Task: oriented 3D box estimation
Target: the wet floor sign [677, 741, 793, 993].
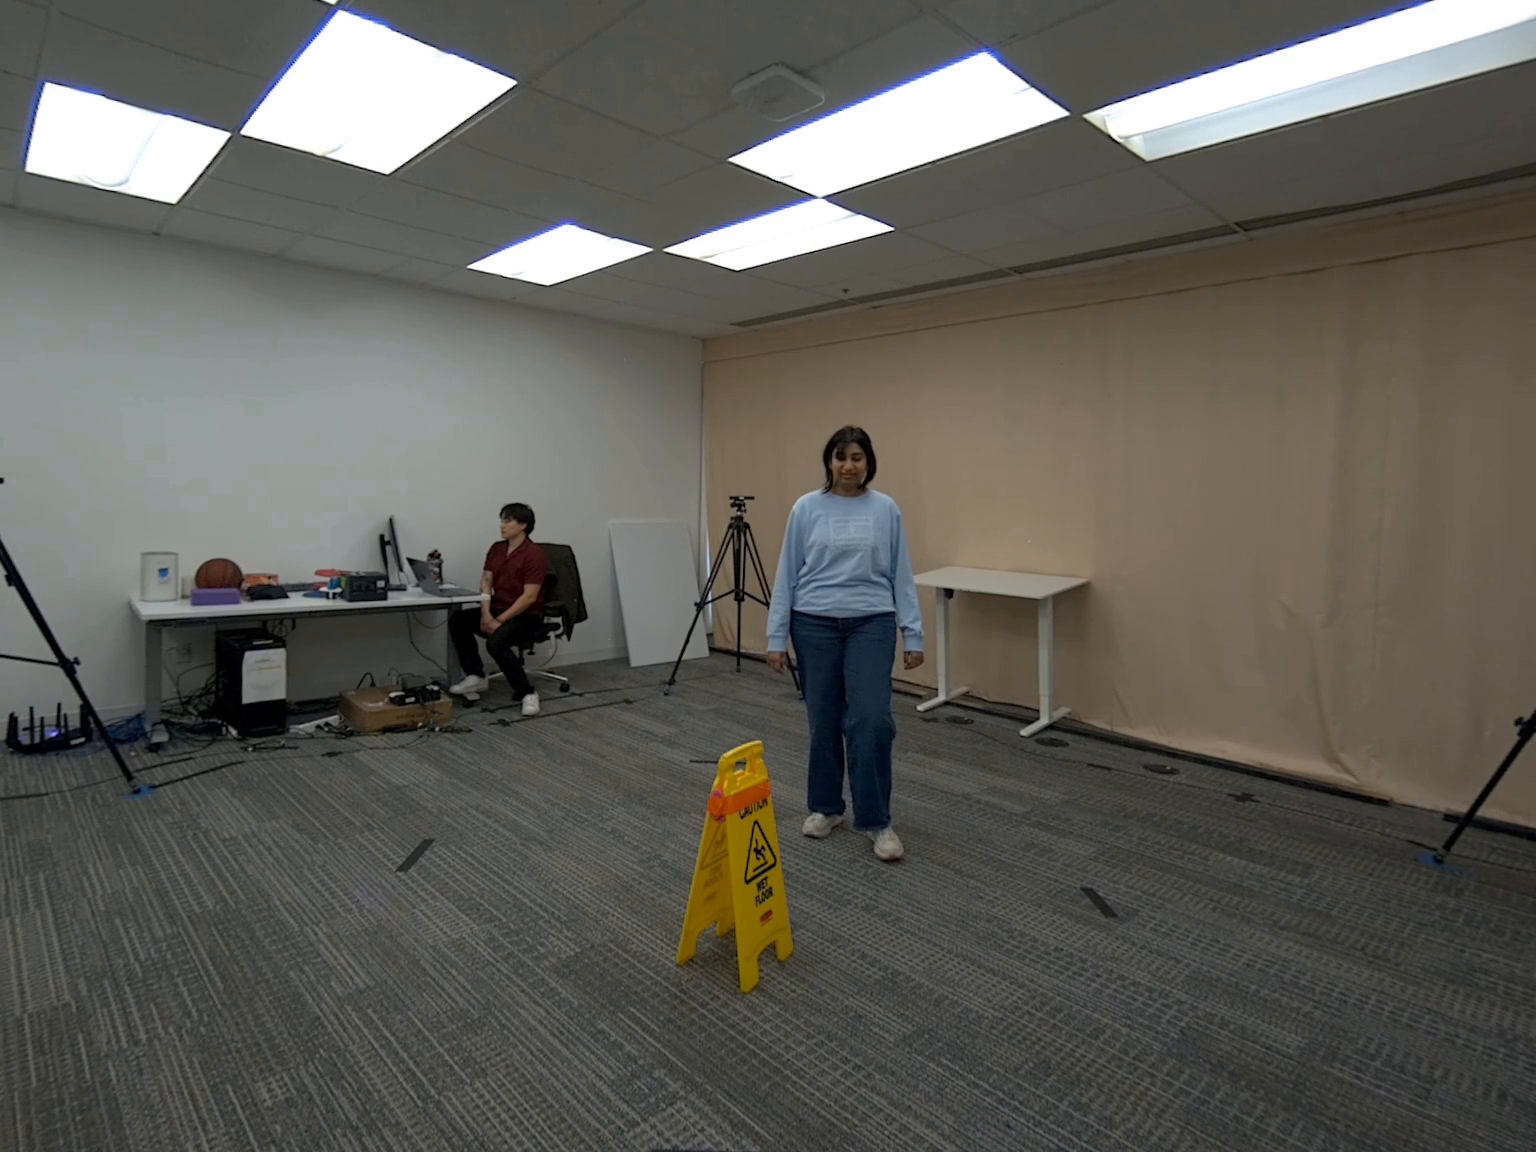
[{"bbox_3d":[-0.089,0.835,2.518,0.296,0.644,0.276,4,5,32],"label":"wet floor sign"}]
